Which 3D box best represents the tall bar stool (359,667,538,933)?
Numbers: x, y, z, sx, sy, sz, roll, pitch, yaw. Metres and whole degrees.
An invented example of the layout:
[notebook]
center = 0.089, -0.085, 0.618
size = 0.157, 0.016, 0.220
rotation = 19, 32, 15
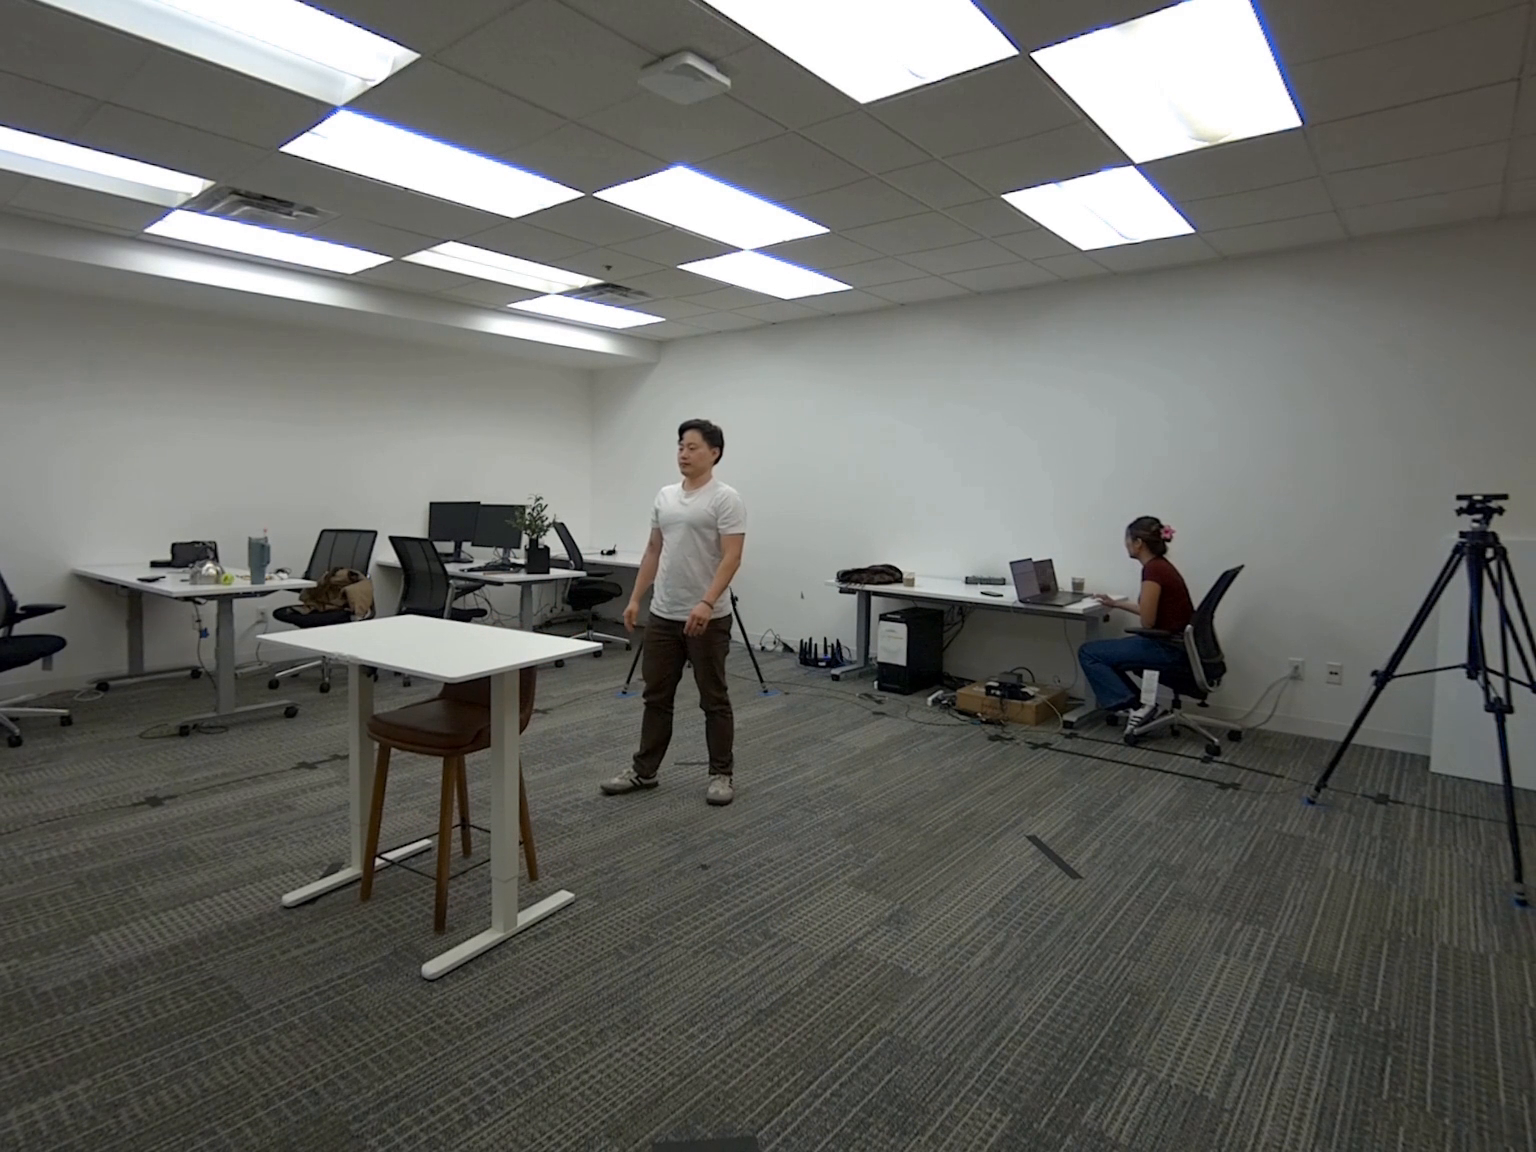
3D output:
[tall bar stool]
center = -1.083, 0.643, 2.901
size = 0.470, 0.888, 0.454
rotation = 3, 2, 32
